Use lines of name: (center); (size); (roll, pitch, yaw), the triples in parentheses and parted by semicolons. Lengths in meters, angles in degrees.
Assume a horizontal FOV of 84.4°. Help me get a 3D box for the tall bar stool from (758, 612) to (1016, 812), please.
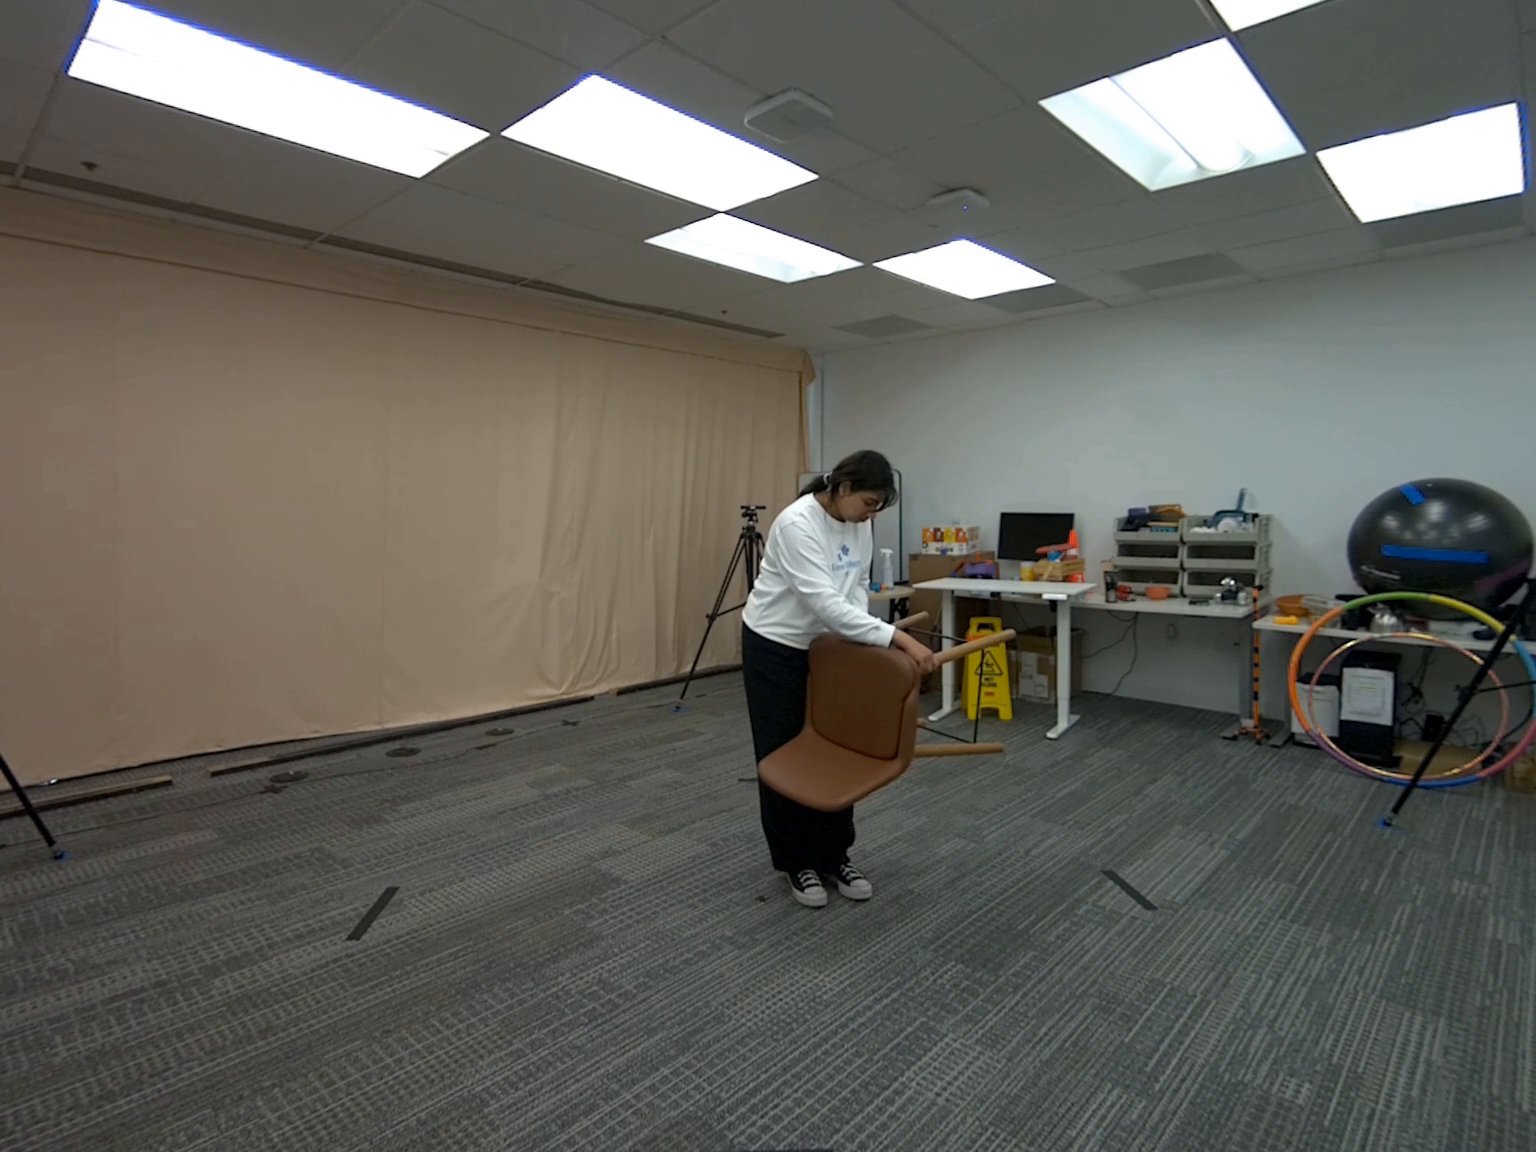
tall bar stool: (0.417, 0.434, 2.880); (0.864, 0.465, 0.472); (-8, 12, -39)
